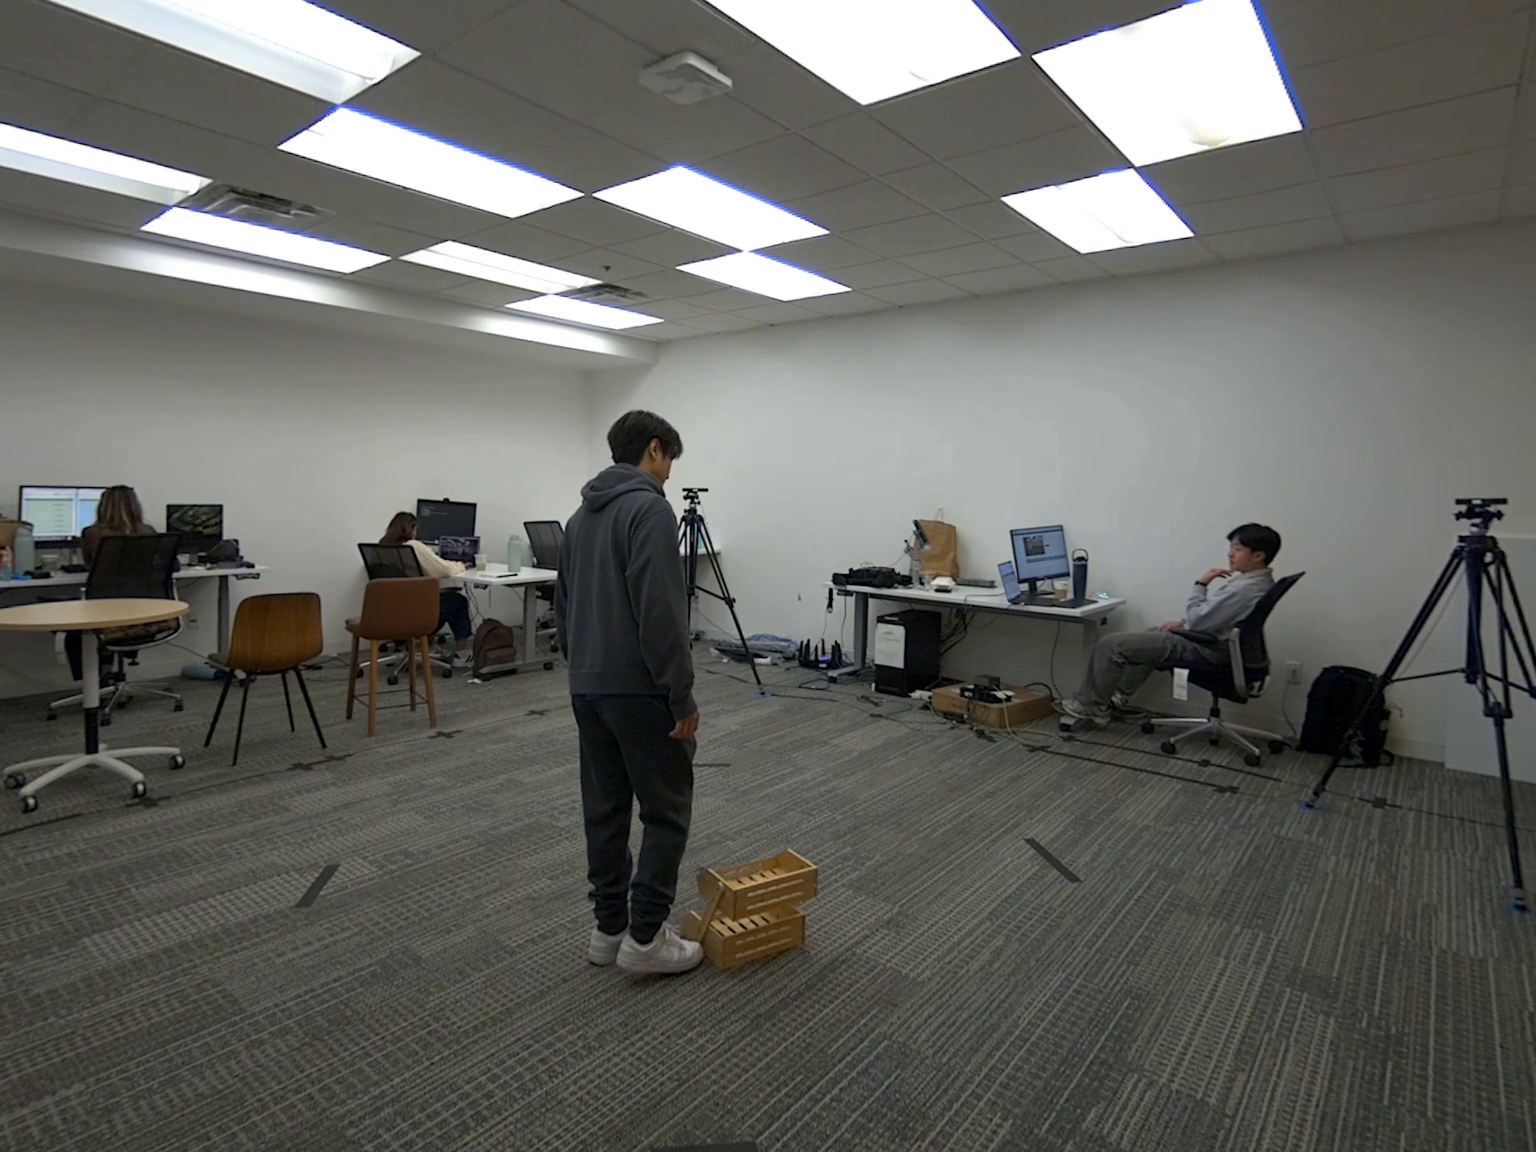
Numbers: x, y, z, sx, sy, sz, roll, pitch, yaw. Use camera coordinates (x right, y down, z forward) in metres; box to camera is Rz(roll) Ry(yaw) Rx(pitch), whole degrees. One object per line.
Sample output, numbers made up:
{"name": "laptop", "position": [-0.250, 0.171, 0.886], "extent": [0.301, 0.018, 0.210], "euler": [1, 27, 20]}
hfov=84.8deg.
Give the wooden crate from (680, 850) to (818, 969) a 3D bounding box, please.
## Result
{"name": "wooden crate", "position": [-0.077, 0.982, 2.611], "extent": [0.315, 0.272, 0.312], "euler": [-2, 6, -34]}
